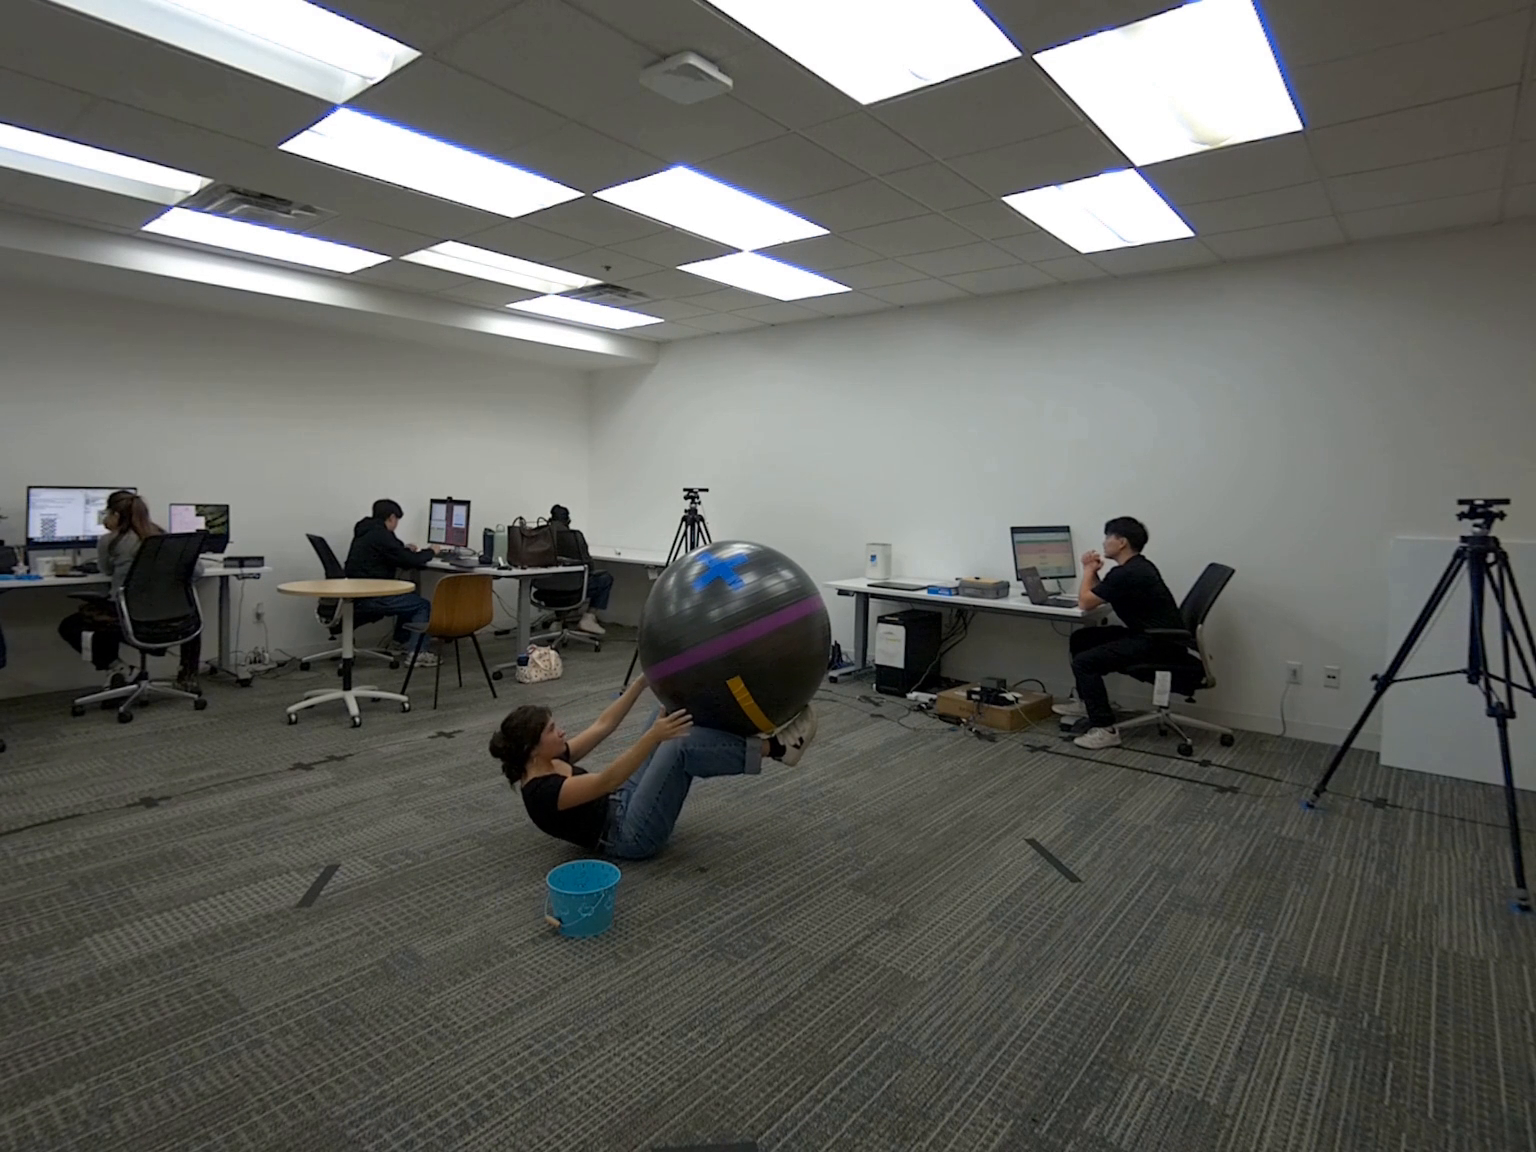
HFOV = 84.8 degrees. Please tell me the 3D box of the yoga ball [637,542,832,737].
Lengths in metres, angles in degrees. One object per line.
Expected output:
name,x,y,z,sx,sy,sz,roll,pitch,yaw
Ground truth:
yoga ball,-0.144,0.241,3.330,0.757,0.756,0.761,1,4,-2
